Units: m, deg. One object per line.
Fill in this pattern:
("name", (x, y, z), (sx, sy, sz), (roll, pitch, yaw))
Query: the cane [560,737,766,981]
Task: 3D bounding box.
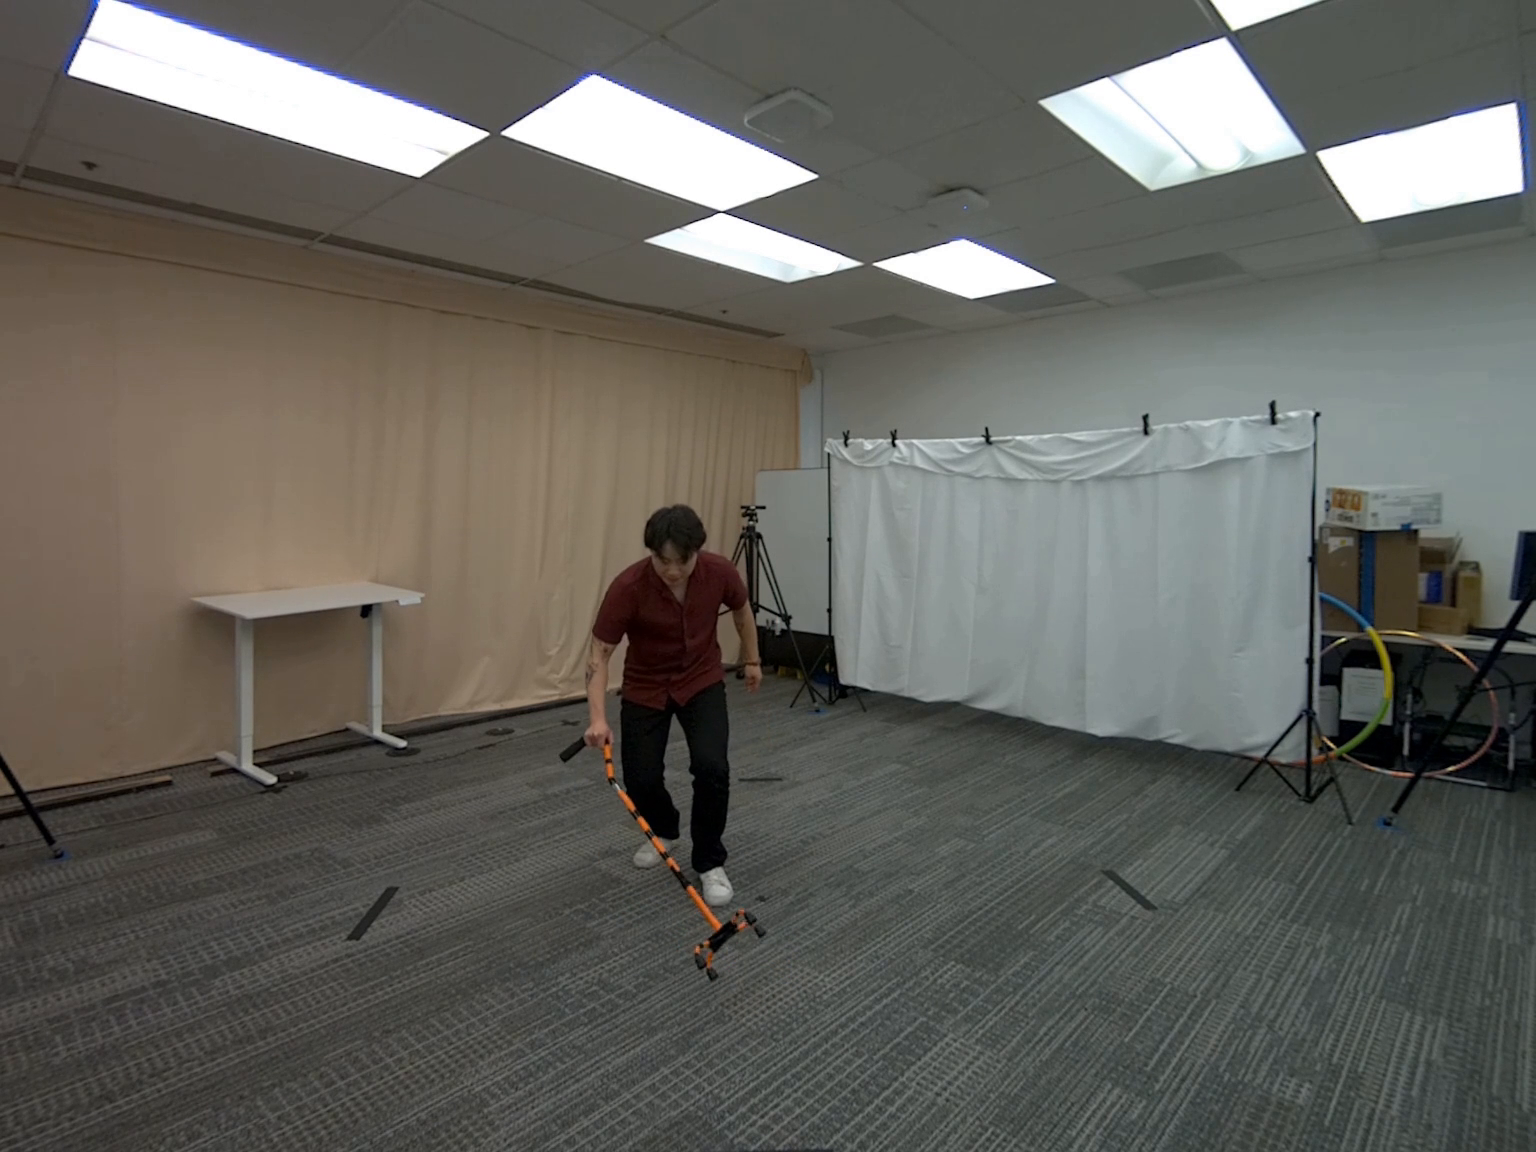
("cane", (-0.369, 0.801, 2.640), (0.205, 0.147, 0.941), (-38, 50, -14))
